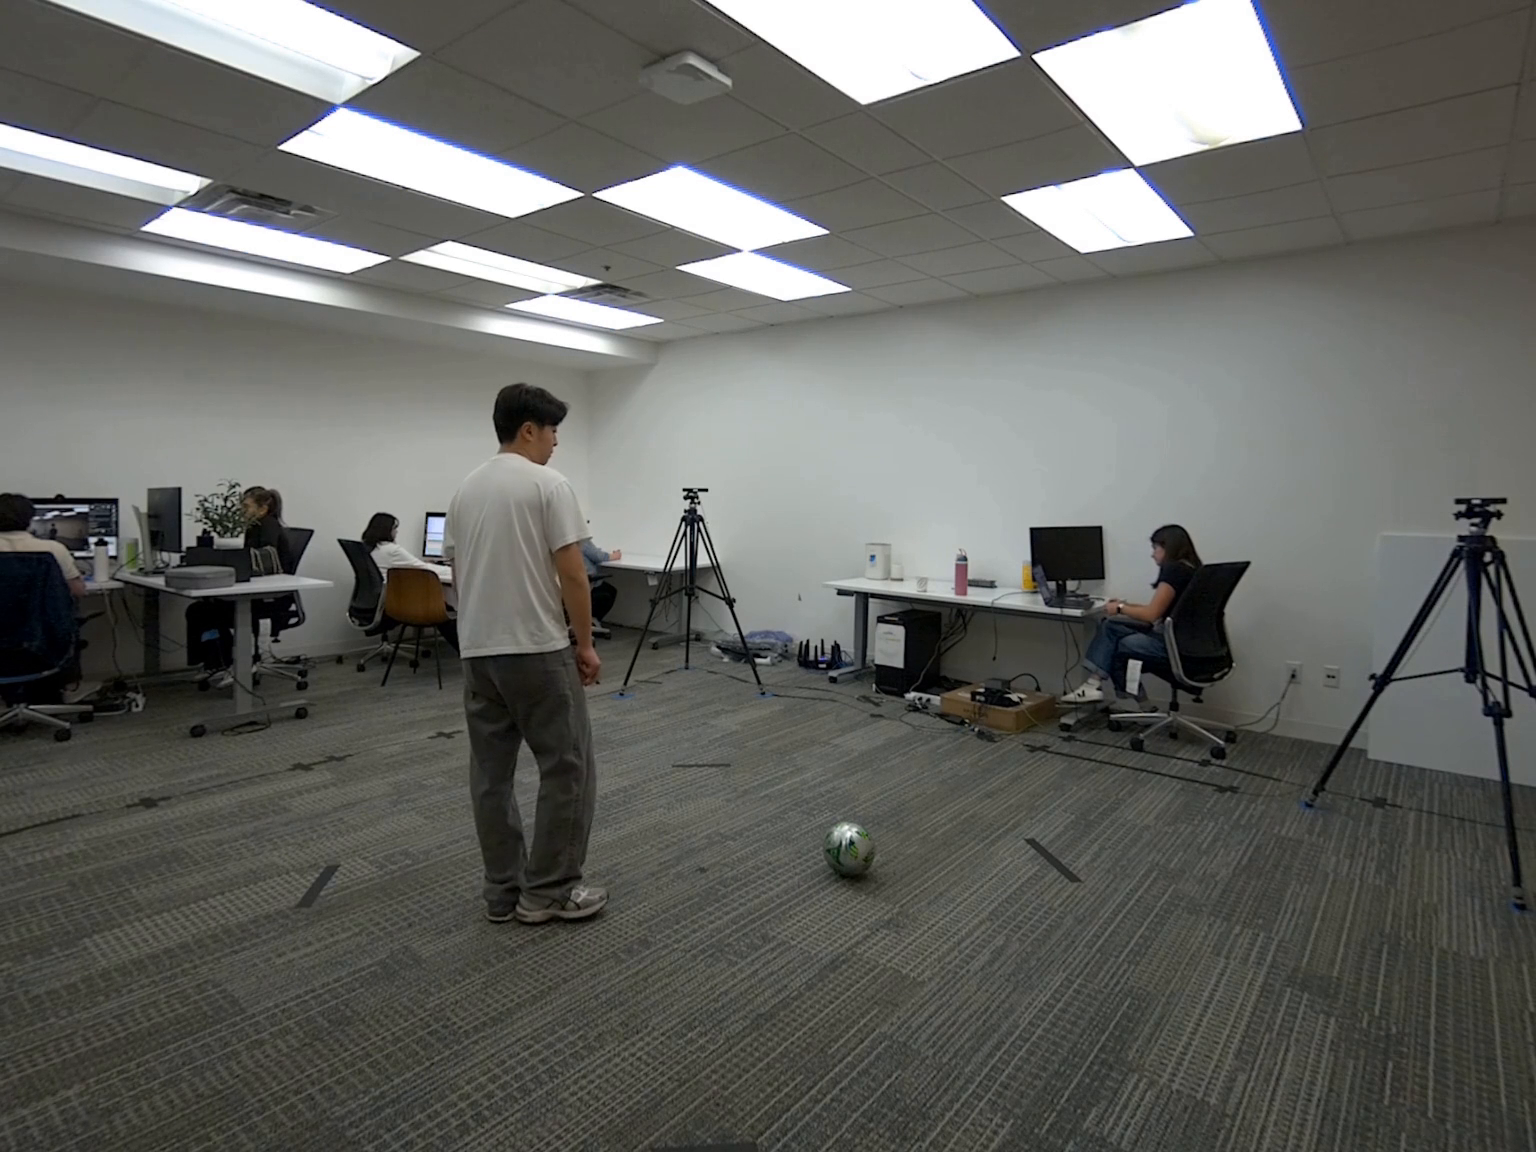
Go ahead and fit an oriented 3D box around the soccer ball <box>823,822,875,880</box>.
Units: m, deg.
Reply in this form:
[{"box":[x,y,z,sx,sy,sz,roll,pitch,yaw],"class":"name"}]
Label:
[{"box":[0.301,0.986,3.097,0.187,0.187,0.188,1,4,-2],"class":"soccer ball"}]
